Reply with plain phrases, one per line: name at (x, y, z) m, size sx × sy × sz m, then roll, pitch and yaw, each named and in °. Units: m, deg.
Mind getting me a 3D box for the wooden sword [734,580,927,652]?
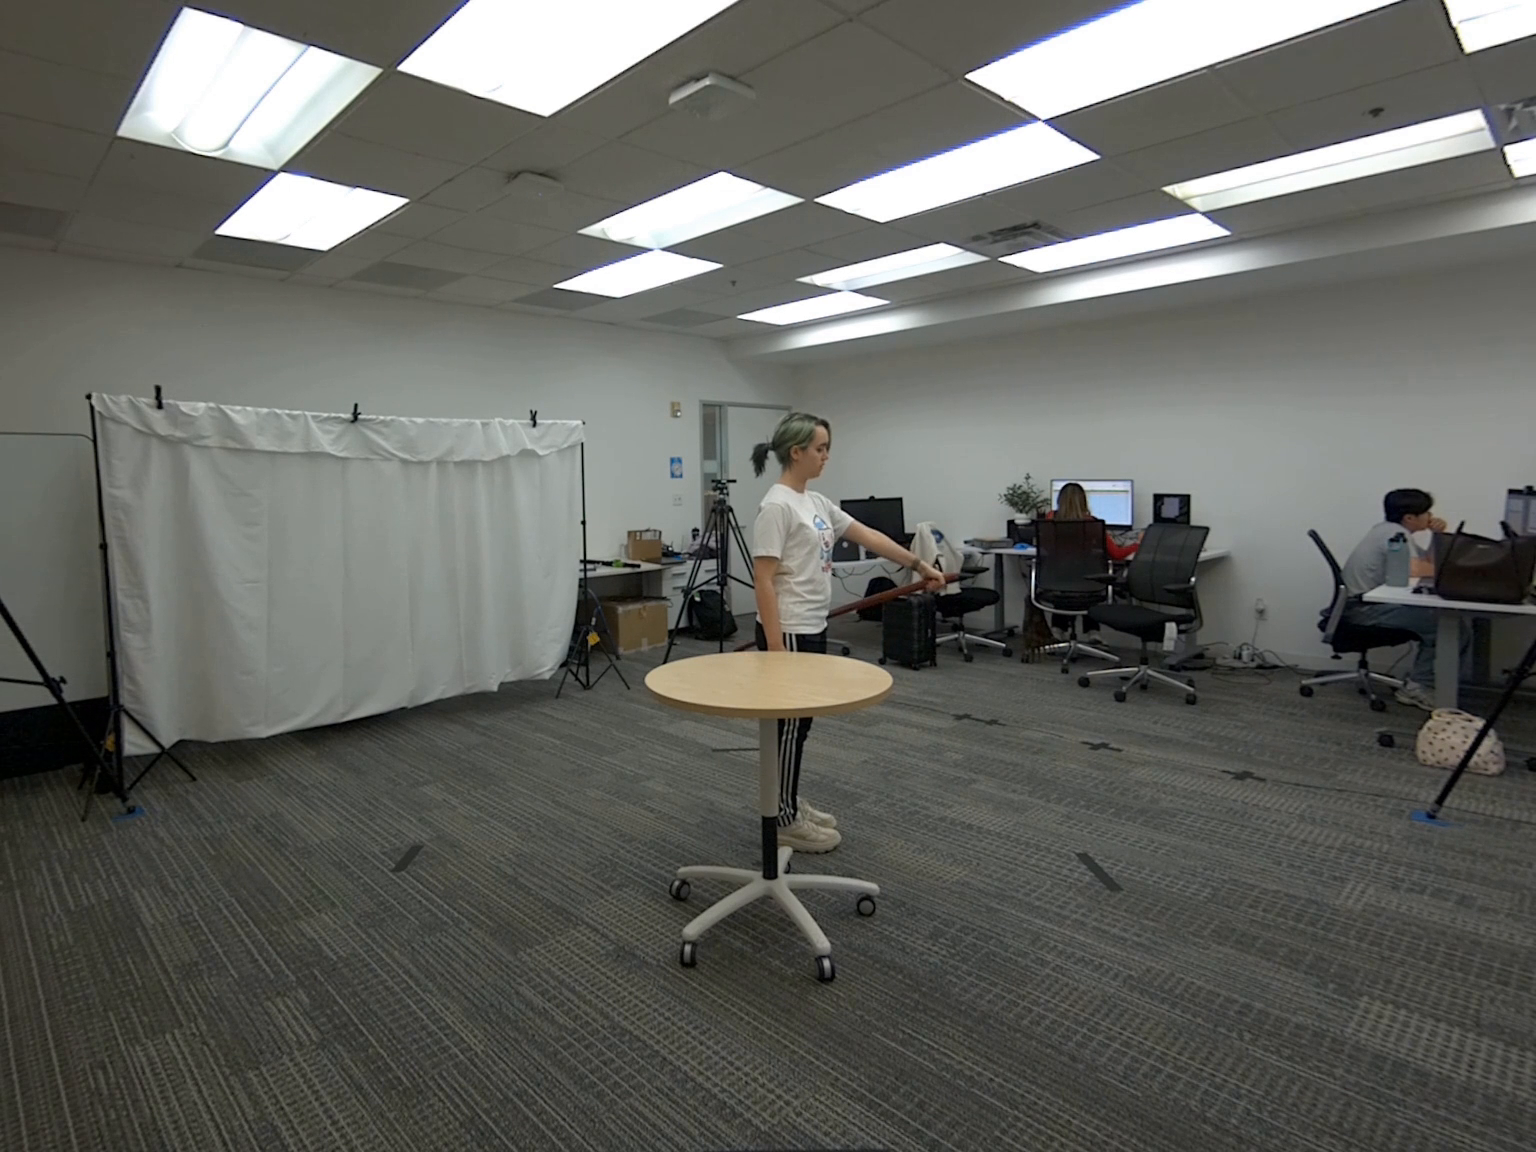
wooden sword at (0.286, 0.178, 3.497) m, size 1.038 × 0.052 × 0.023 m, roll -22°, pitch -16°, yaw 29°
